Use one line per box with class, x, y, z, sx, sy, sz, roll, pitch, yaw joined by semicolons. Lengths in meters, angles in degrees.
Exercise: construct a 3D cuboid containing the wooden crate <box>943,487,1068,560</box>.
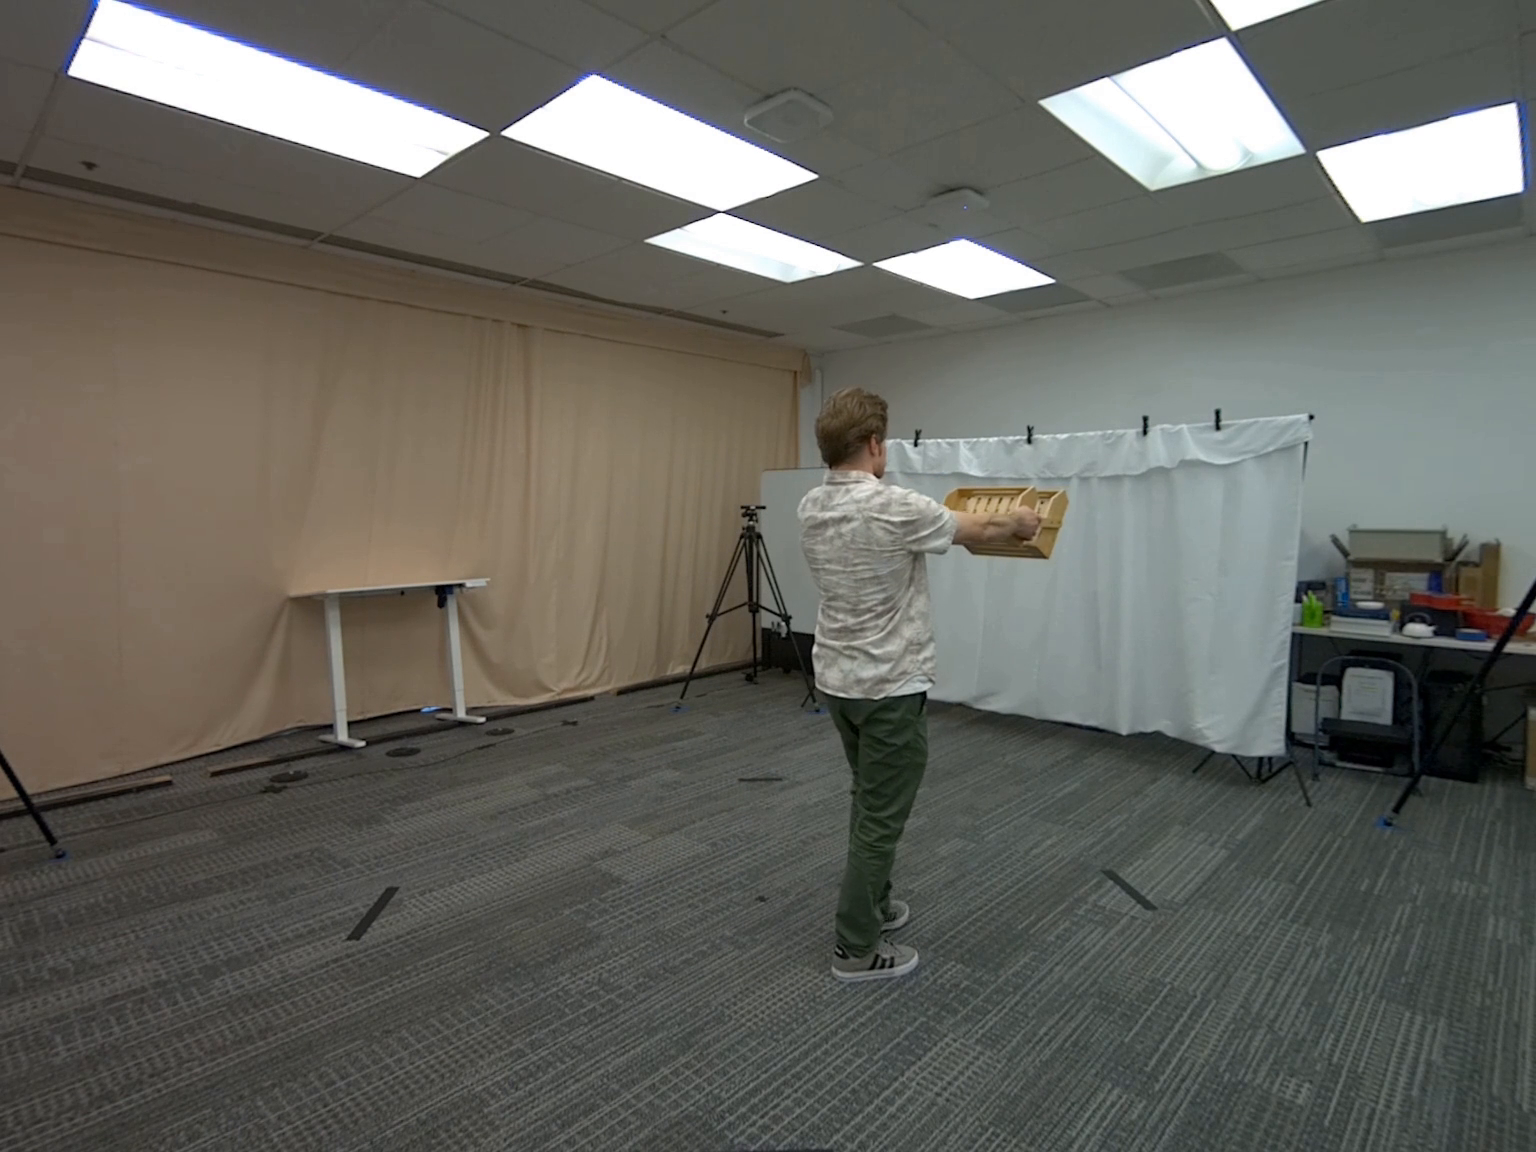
wooden crate;0.817;-0.218;2.924;0.335;0.302;0.264;4;-26;49
